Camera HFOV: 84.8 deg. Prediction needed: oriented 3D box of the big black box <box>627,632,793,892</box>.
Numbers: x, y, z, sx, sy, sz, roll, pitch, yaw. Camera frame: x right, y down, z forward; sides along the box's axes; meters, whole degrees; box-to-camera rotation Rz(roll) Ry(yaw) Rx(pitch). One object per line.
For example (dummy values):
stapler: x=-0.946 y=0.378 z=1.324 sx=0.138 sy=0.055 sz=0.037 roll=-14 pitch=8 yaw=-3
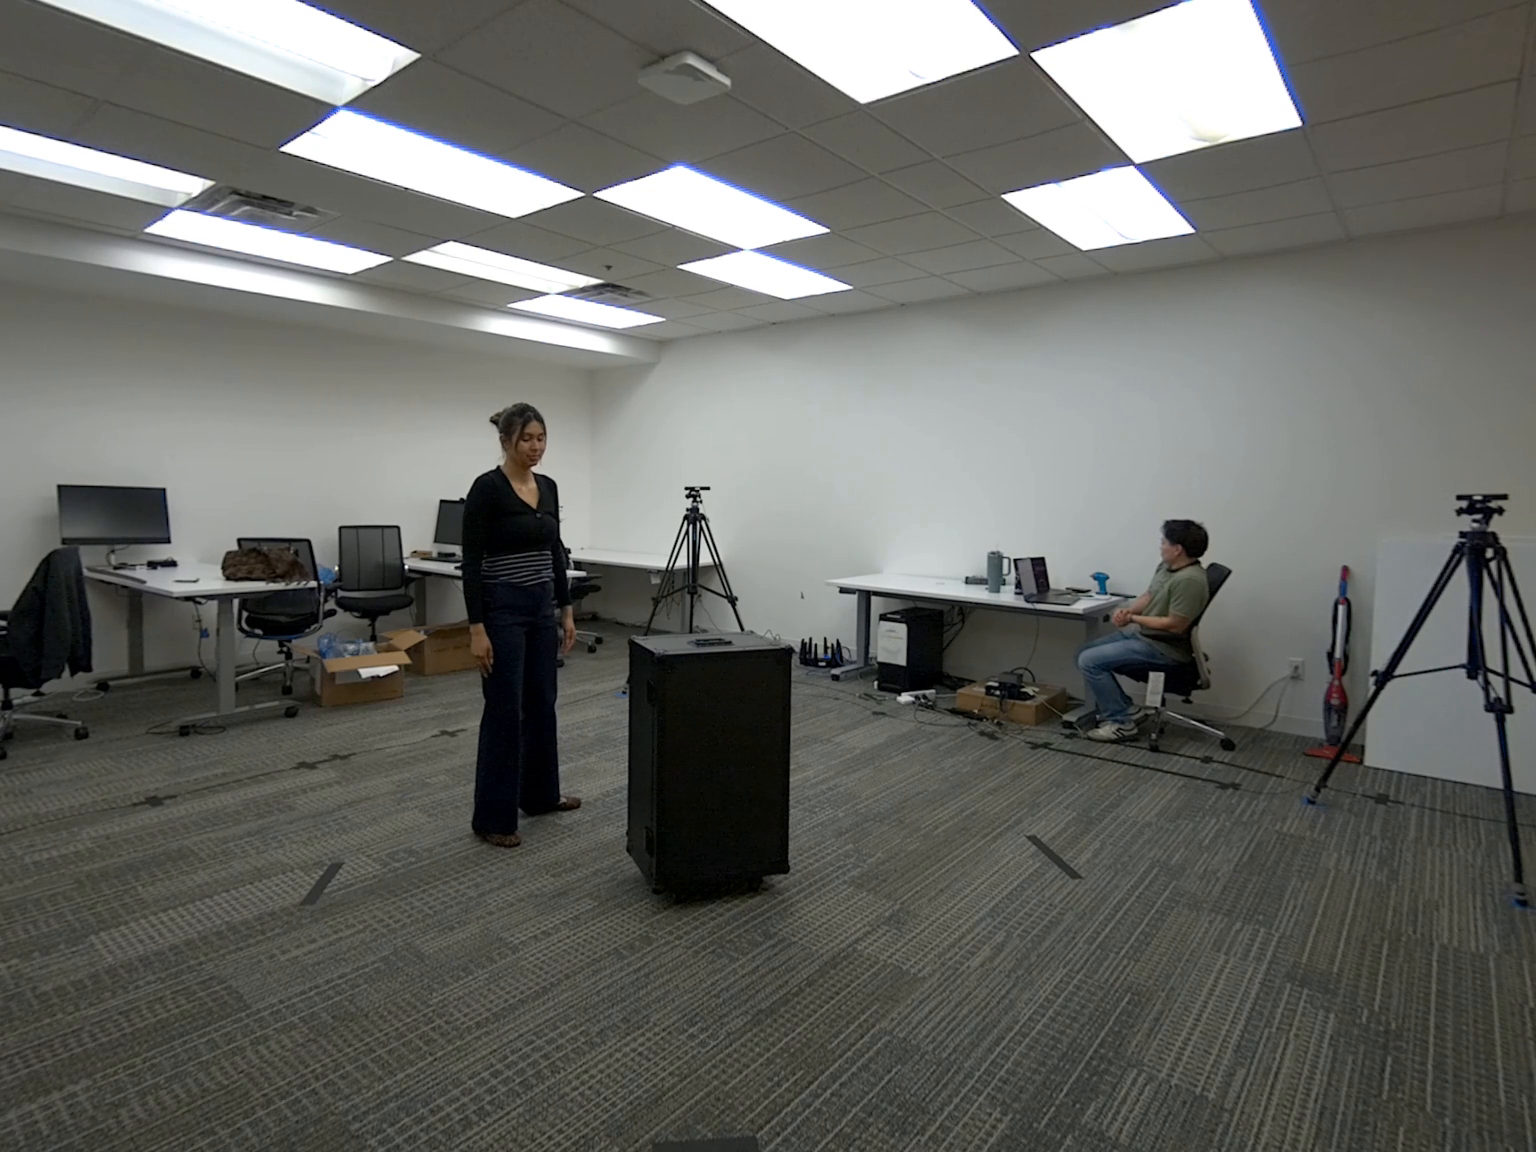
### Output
big black box: x=-0.223 y=0.588 z=2.987 sx=0.510 sy=0.859 sz=0.406 roll=-1 pitch=4 yaw=-24
